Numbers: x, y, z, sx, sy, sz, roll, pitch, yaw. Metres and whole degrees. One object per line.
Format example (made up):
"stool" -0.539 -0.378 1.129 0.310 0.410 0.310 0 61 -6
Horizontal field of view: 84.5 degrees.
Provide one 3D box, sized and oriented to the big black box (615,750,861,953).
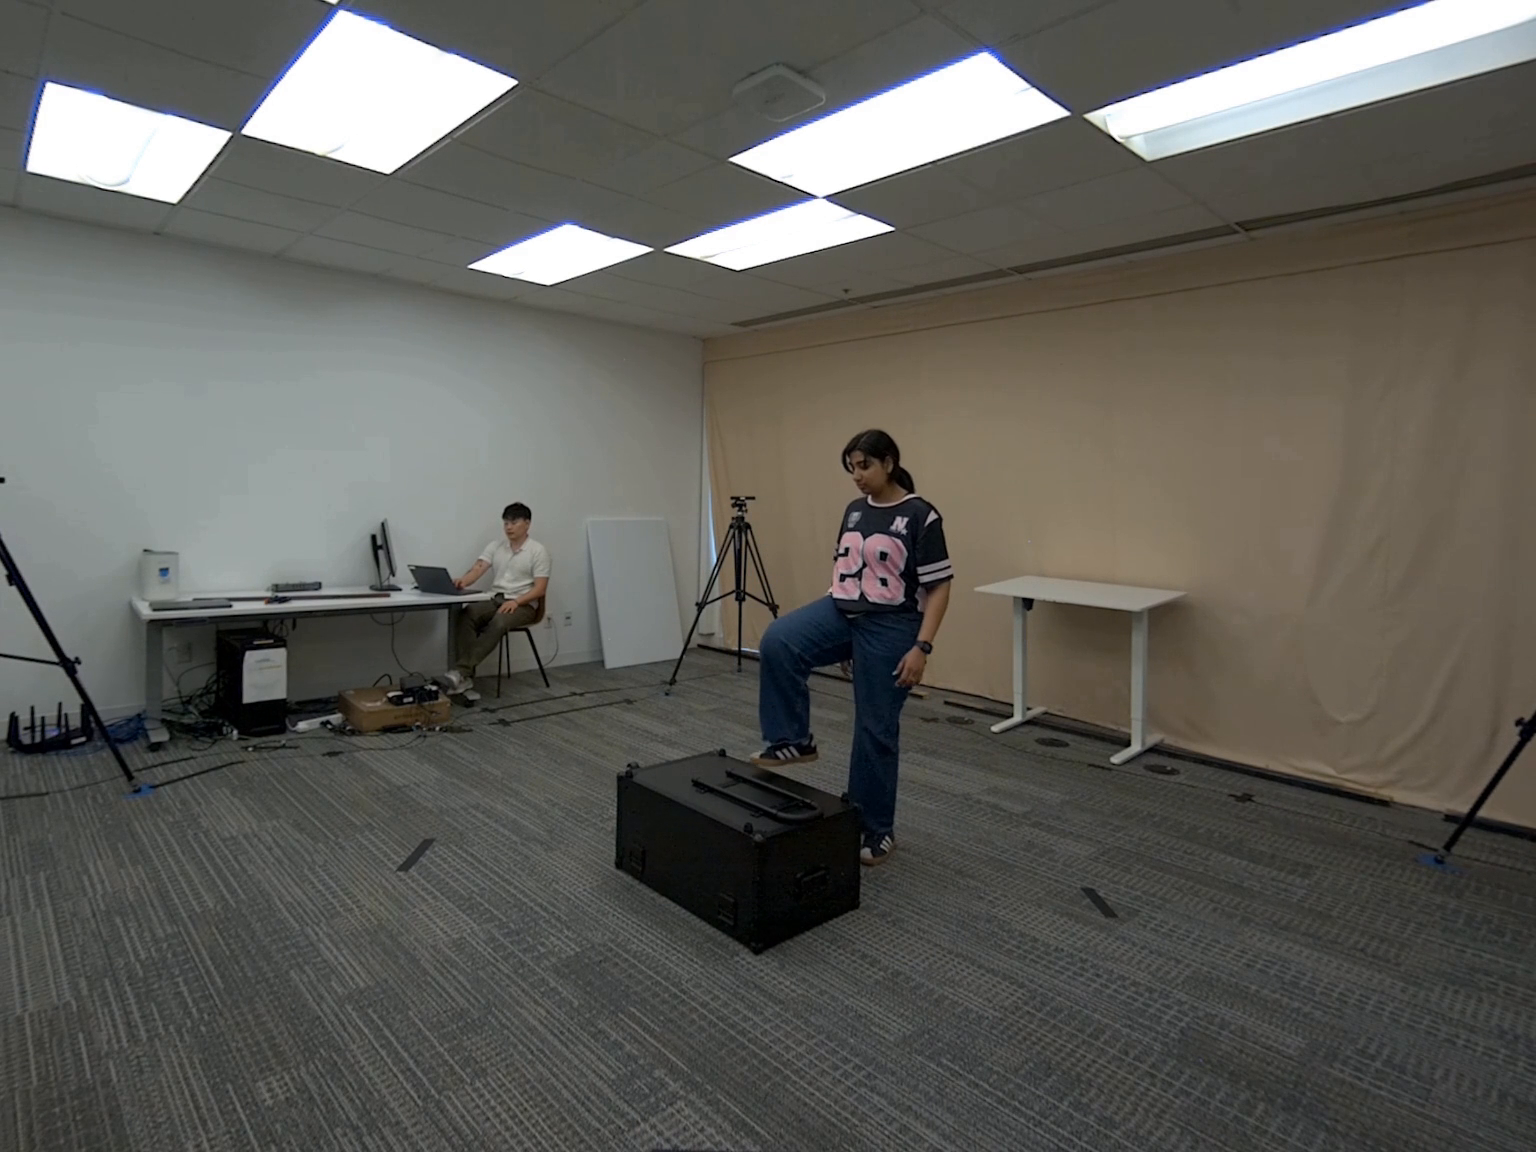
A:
"big black box" -0.161 0.928 3.020 0.512 0.384 0.891 -4 7 -43
